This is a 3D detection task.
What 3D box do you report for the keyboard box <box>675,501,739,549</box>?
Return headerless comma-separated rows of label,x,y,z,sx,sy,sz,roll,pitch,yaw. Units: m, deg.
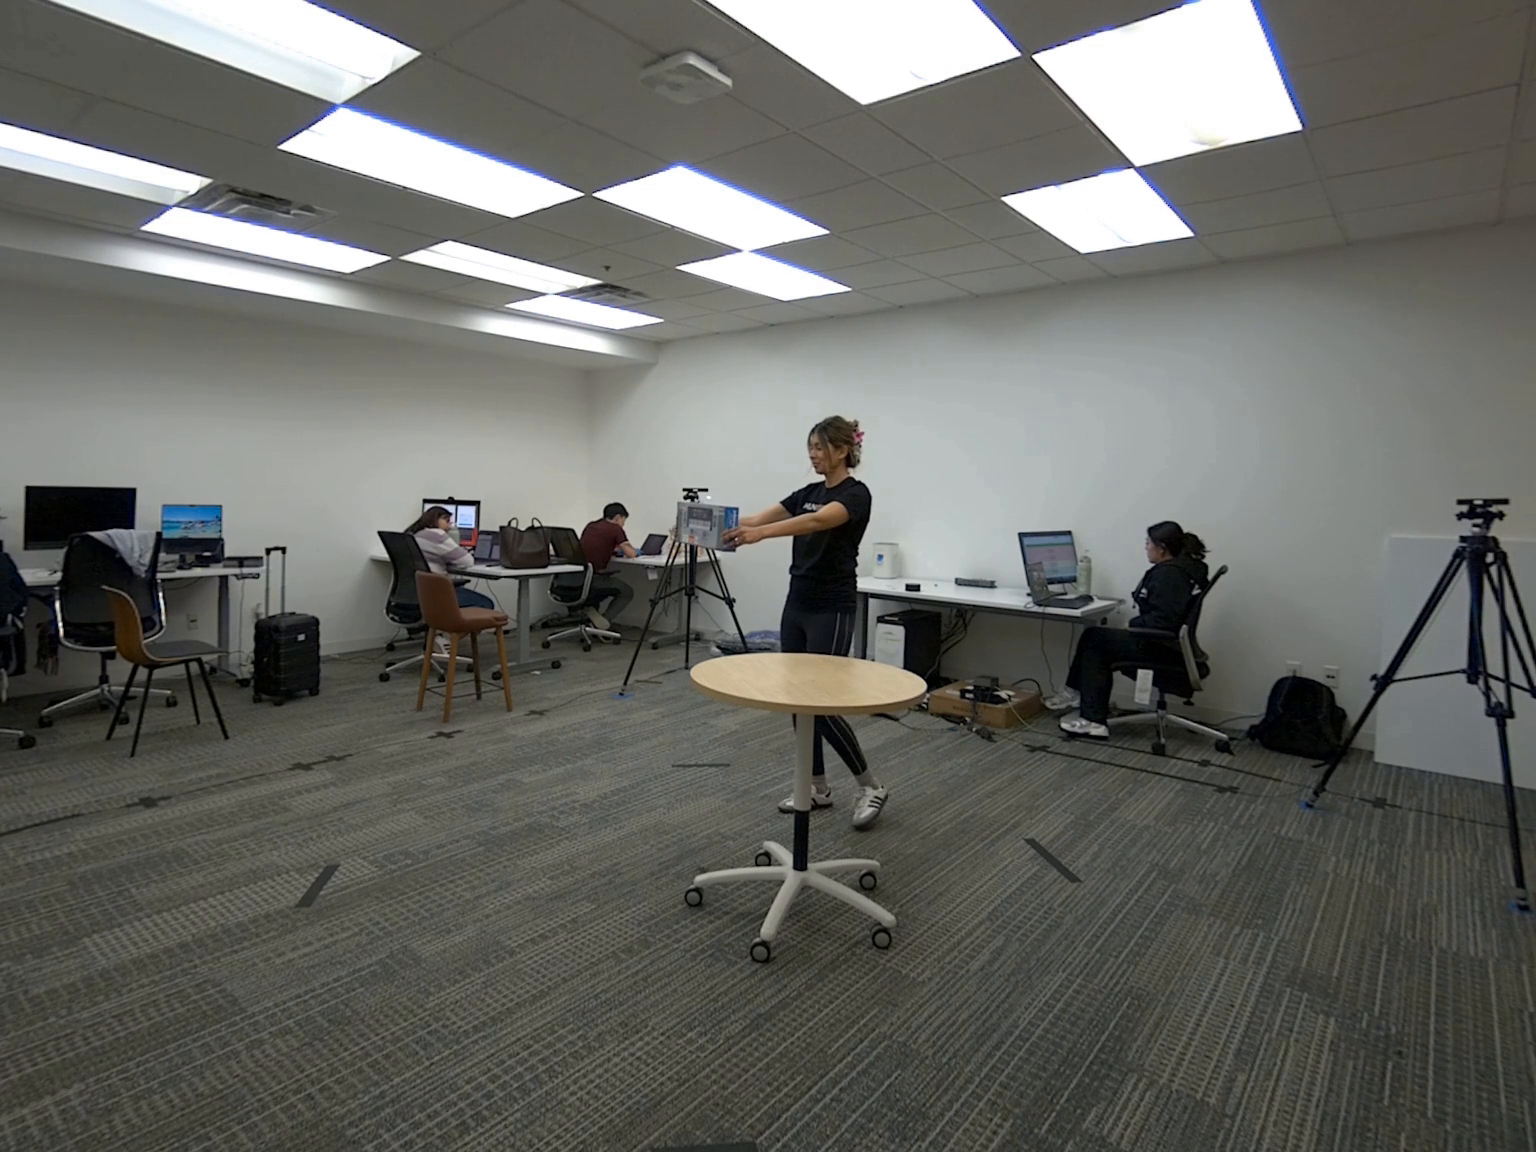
keyboard box,-0.262,-0.203,3.407,0.057,0.175,0.451,2,6,-31
